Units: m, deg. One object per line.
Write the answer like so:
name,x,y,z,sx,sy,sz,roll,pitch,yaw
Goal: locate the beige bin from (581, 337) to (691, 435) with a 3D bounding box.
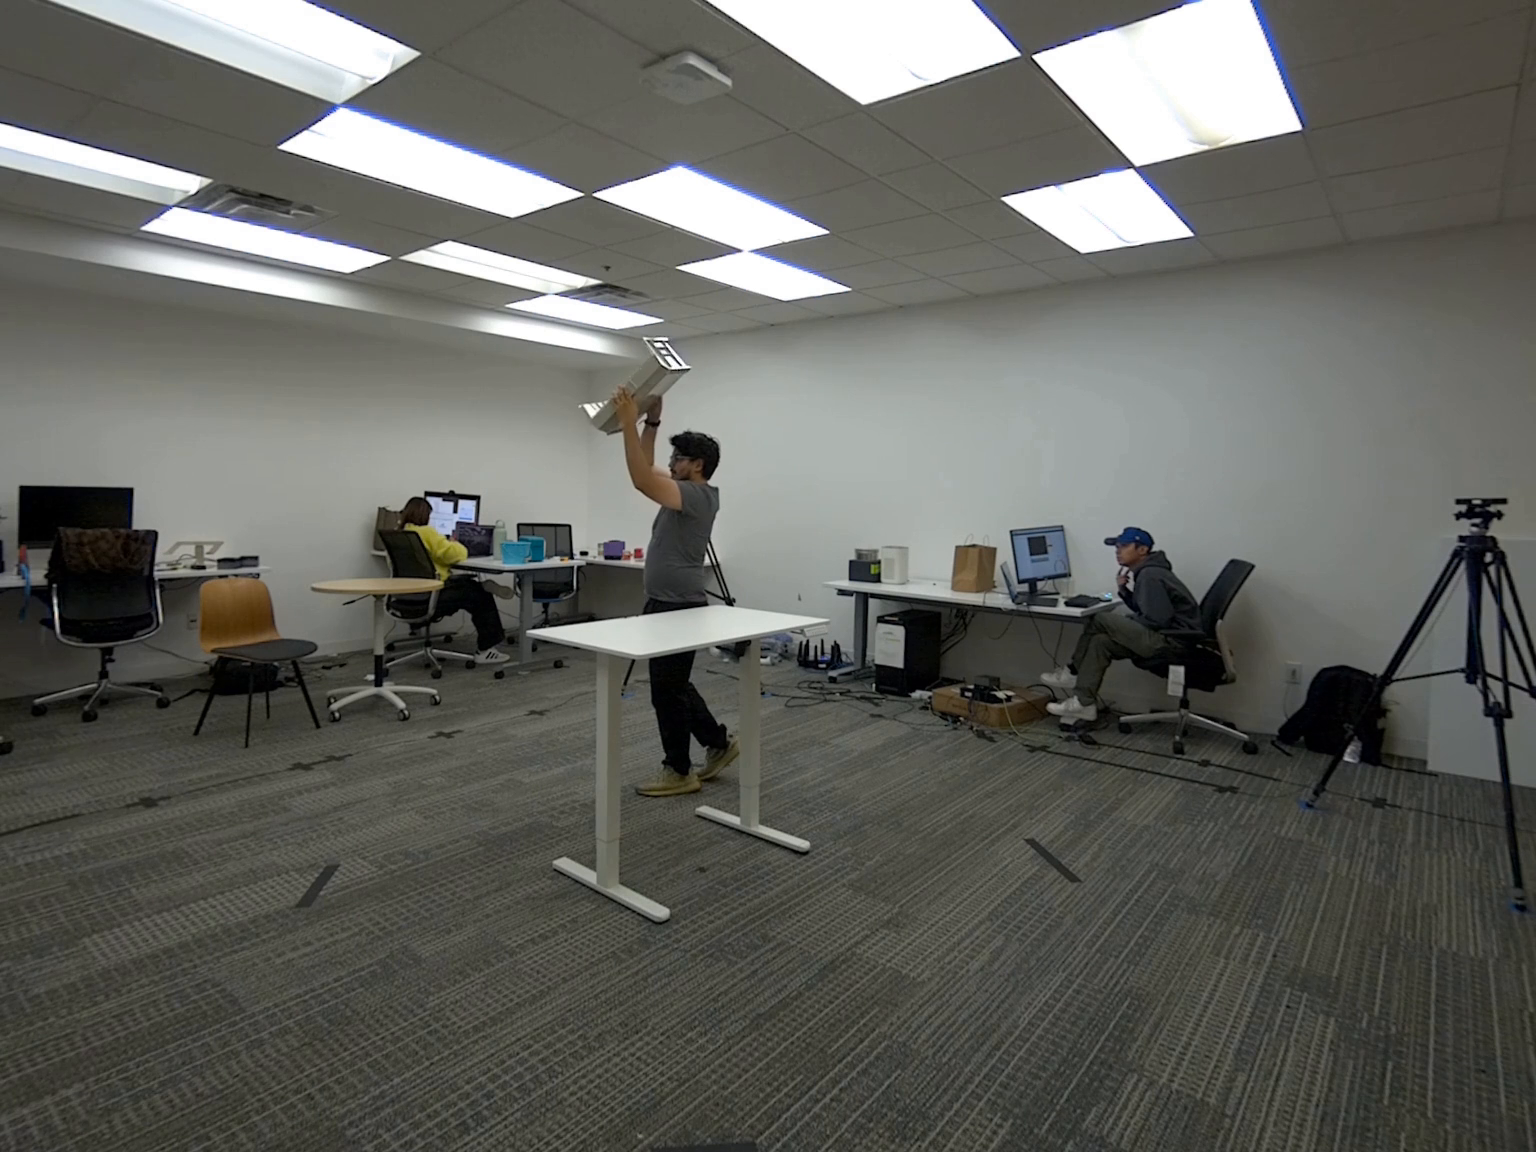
beige bin,-0.595,-0.844,3.769,0.423,0.189,0.377,-41,3,19
